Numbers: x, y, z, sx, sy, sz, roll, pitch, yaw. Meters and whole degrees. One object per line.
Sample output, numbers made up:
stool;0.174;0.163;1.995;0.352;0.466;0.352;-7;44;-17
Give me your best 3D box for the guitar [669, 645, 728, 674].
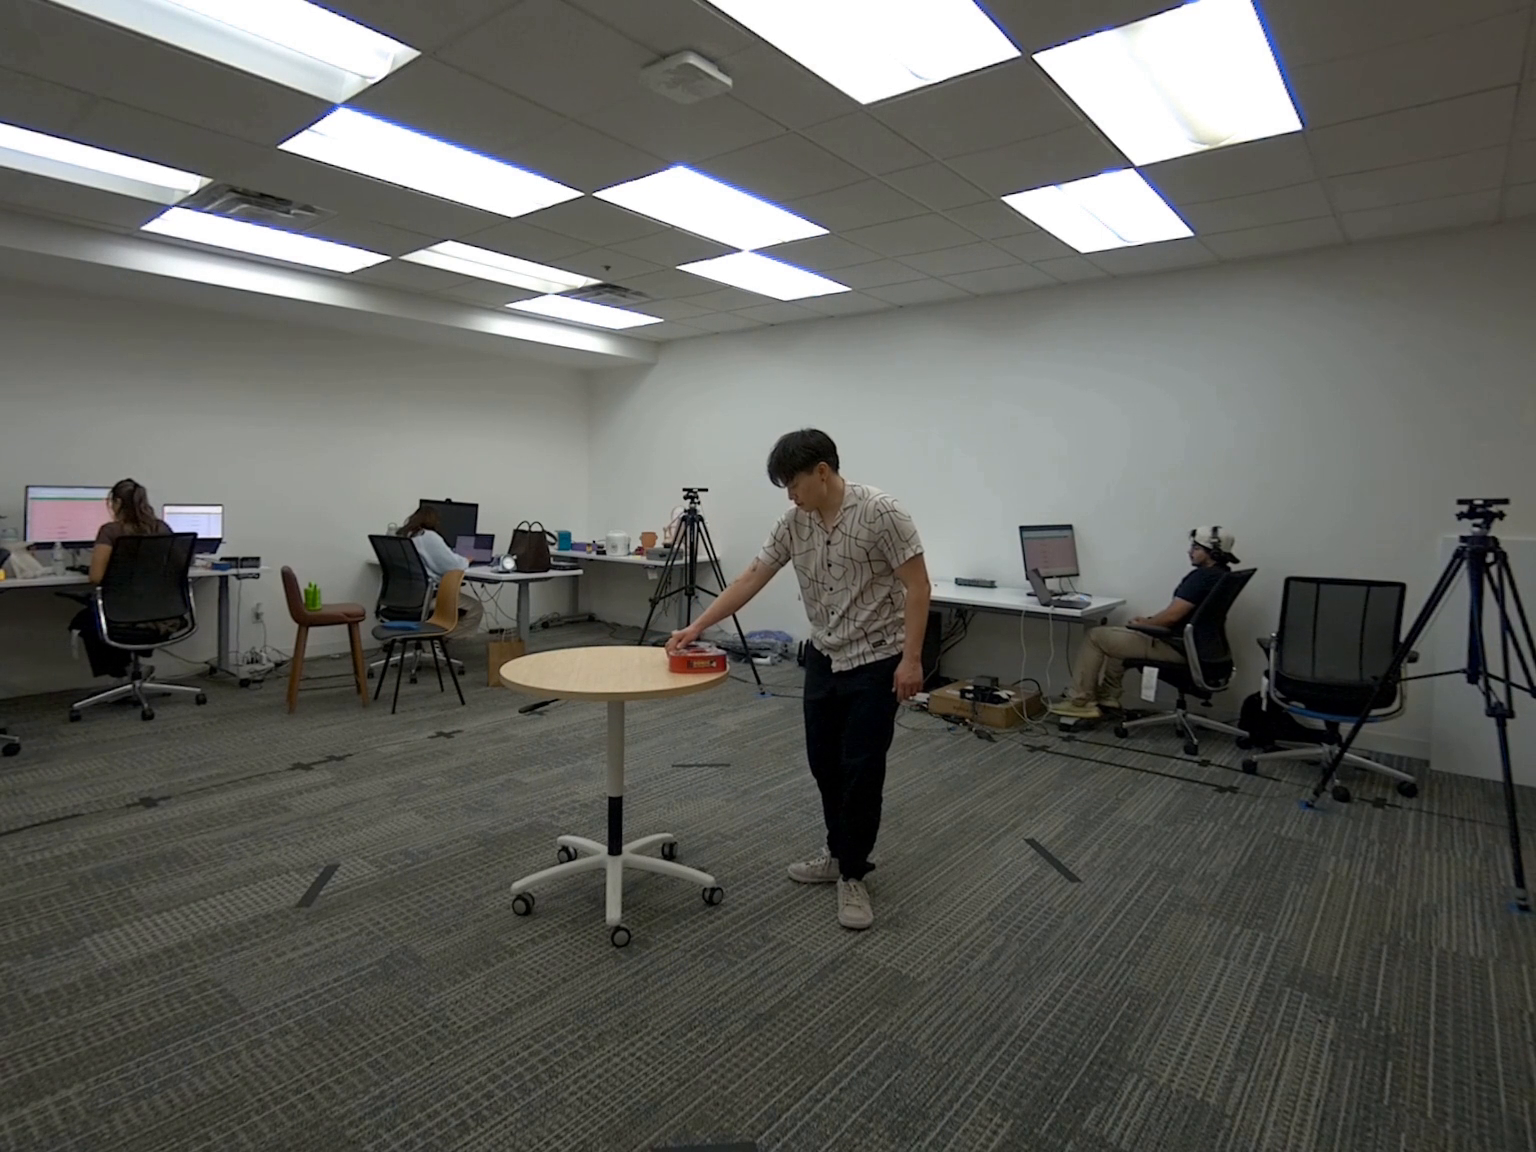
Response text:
guitar;-0.261;0.262;3.008;0.192;0.070;0.503;1;6;-7
